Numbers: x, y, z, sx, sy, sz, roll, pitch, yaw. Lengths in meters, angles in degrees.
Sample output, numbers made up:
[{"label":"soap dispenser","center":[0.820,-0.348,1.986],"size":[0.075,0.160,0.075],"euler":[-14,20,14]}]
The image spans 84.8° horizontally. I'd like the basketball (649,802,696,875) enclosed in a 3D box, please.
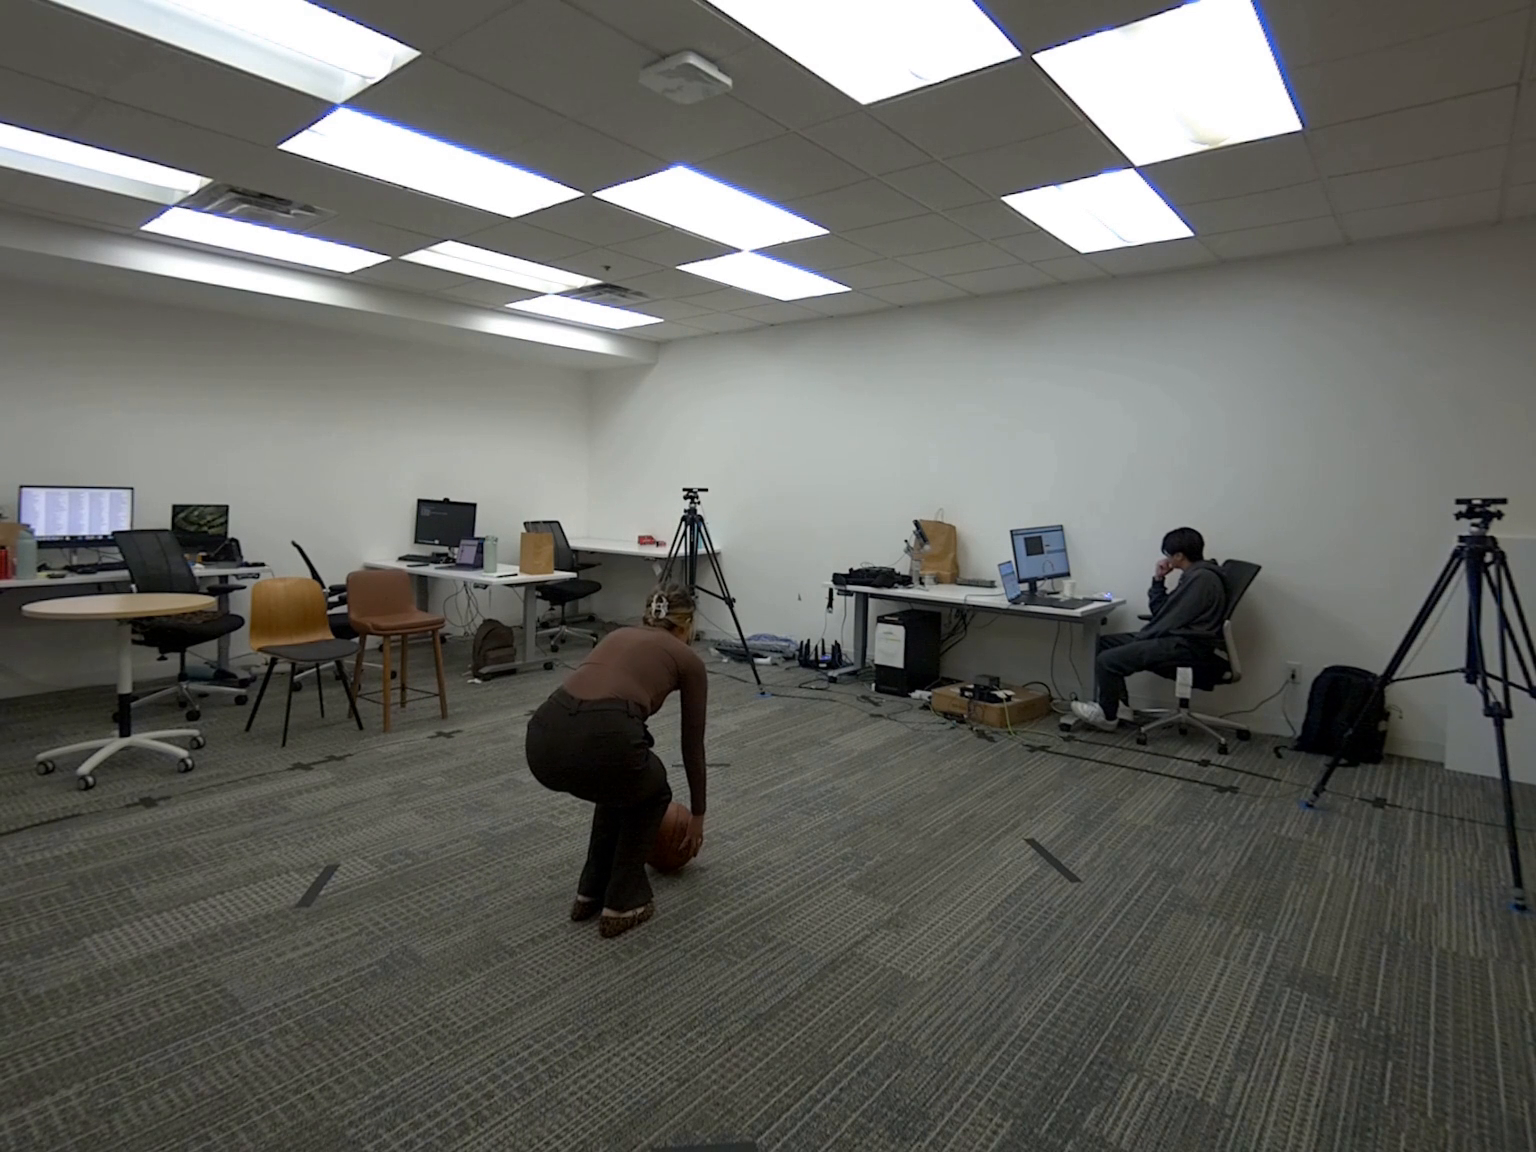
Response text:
[{"label":"basketball","center":[-0.374,0.936,3.114],"size":[0.235,0.235,0.237],"euler":[1,4,-2]}]
